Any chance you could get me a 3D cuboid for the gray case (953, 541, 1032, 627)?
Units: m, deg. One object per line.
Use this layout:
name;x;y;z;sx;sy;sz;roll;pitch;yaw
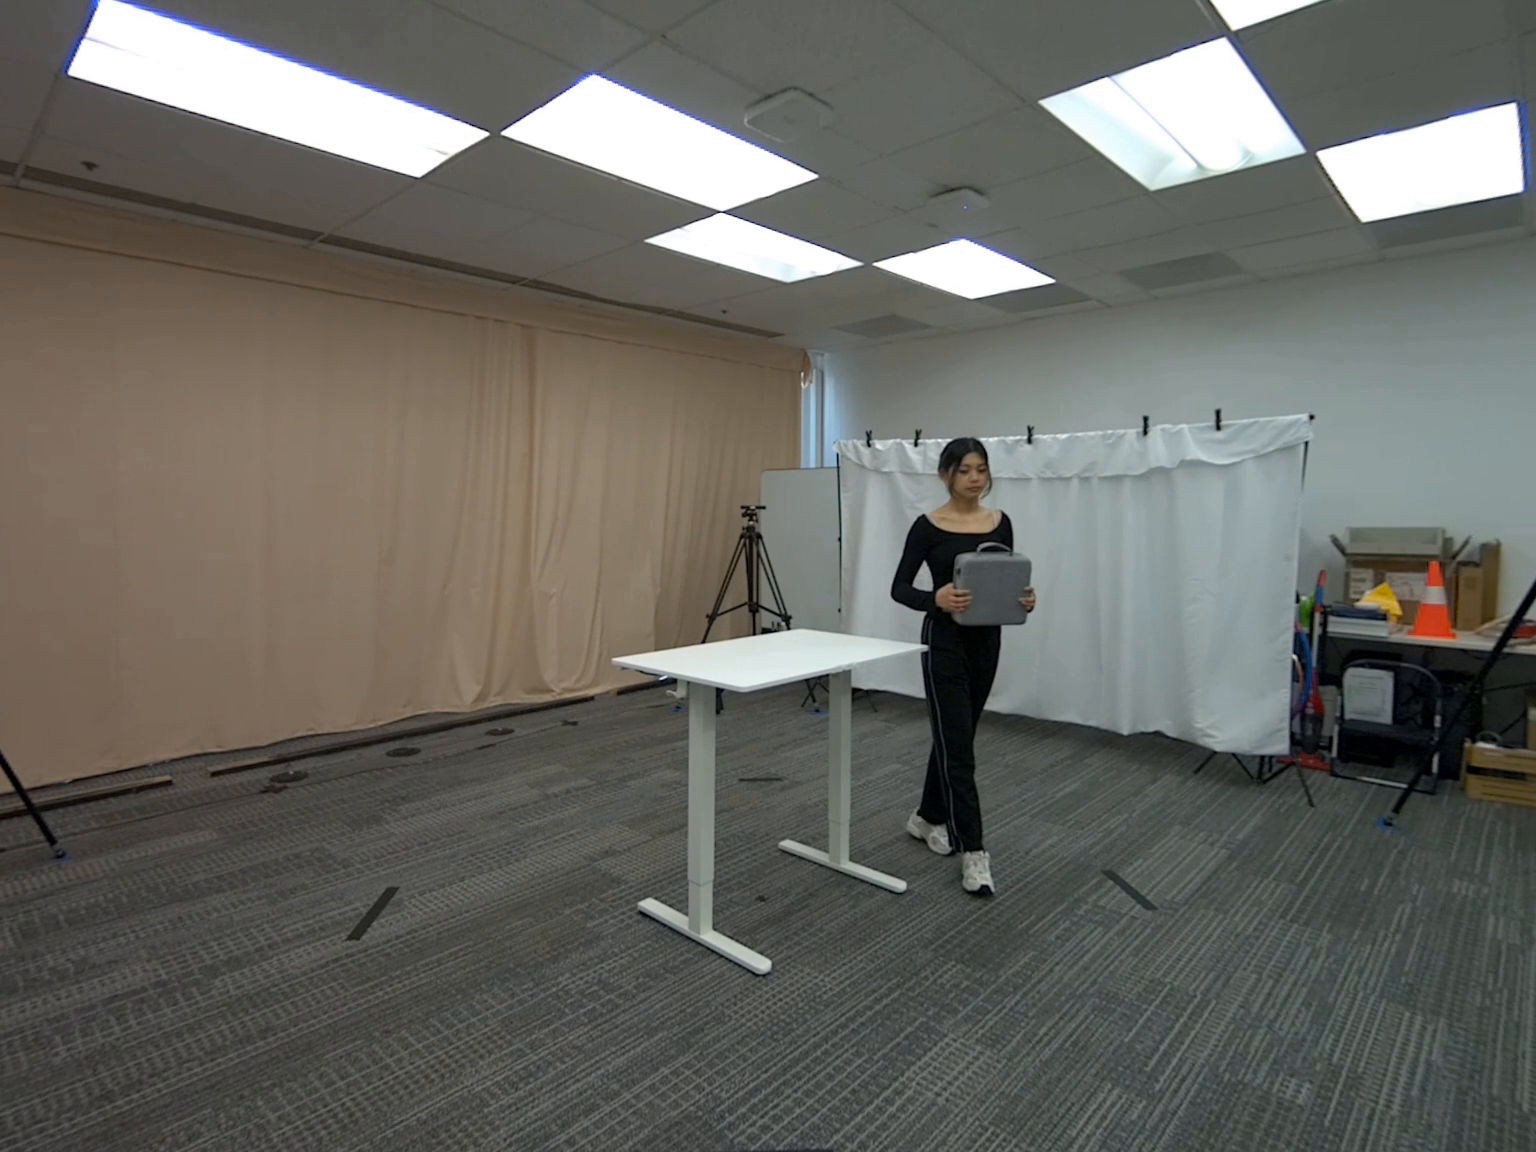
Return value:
gray case;0.801;0.045;2.989;0.256;0.258;0.105;0;13;-3
